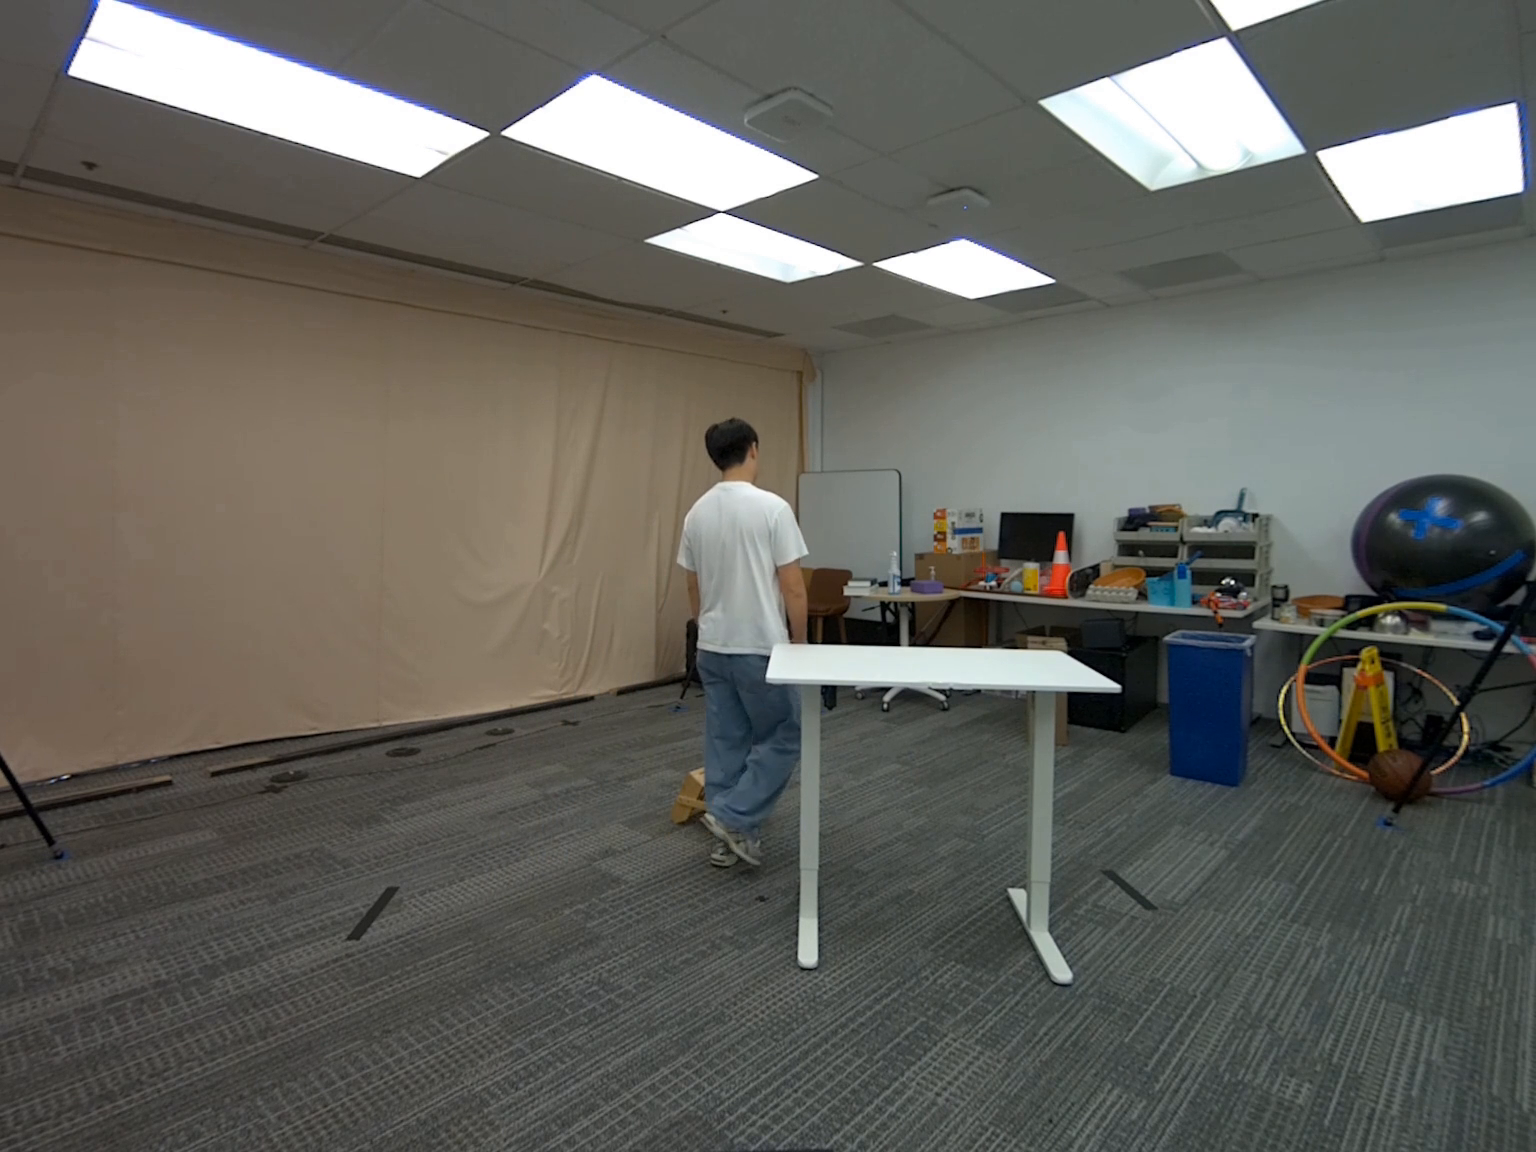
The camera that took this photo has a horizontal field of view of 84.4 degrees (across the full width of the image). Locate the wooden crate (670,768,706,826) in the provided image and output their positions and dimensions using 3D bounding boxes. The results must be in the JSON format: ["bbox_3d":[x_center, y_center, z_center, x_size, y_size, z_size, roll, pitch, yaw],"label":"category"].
[{"bbox_3d":[-0.199,0.997,3.717,0.282,0.301,0.315,35,23,30],"label":"wooden crate"}]
